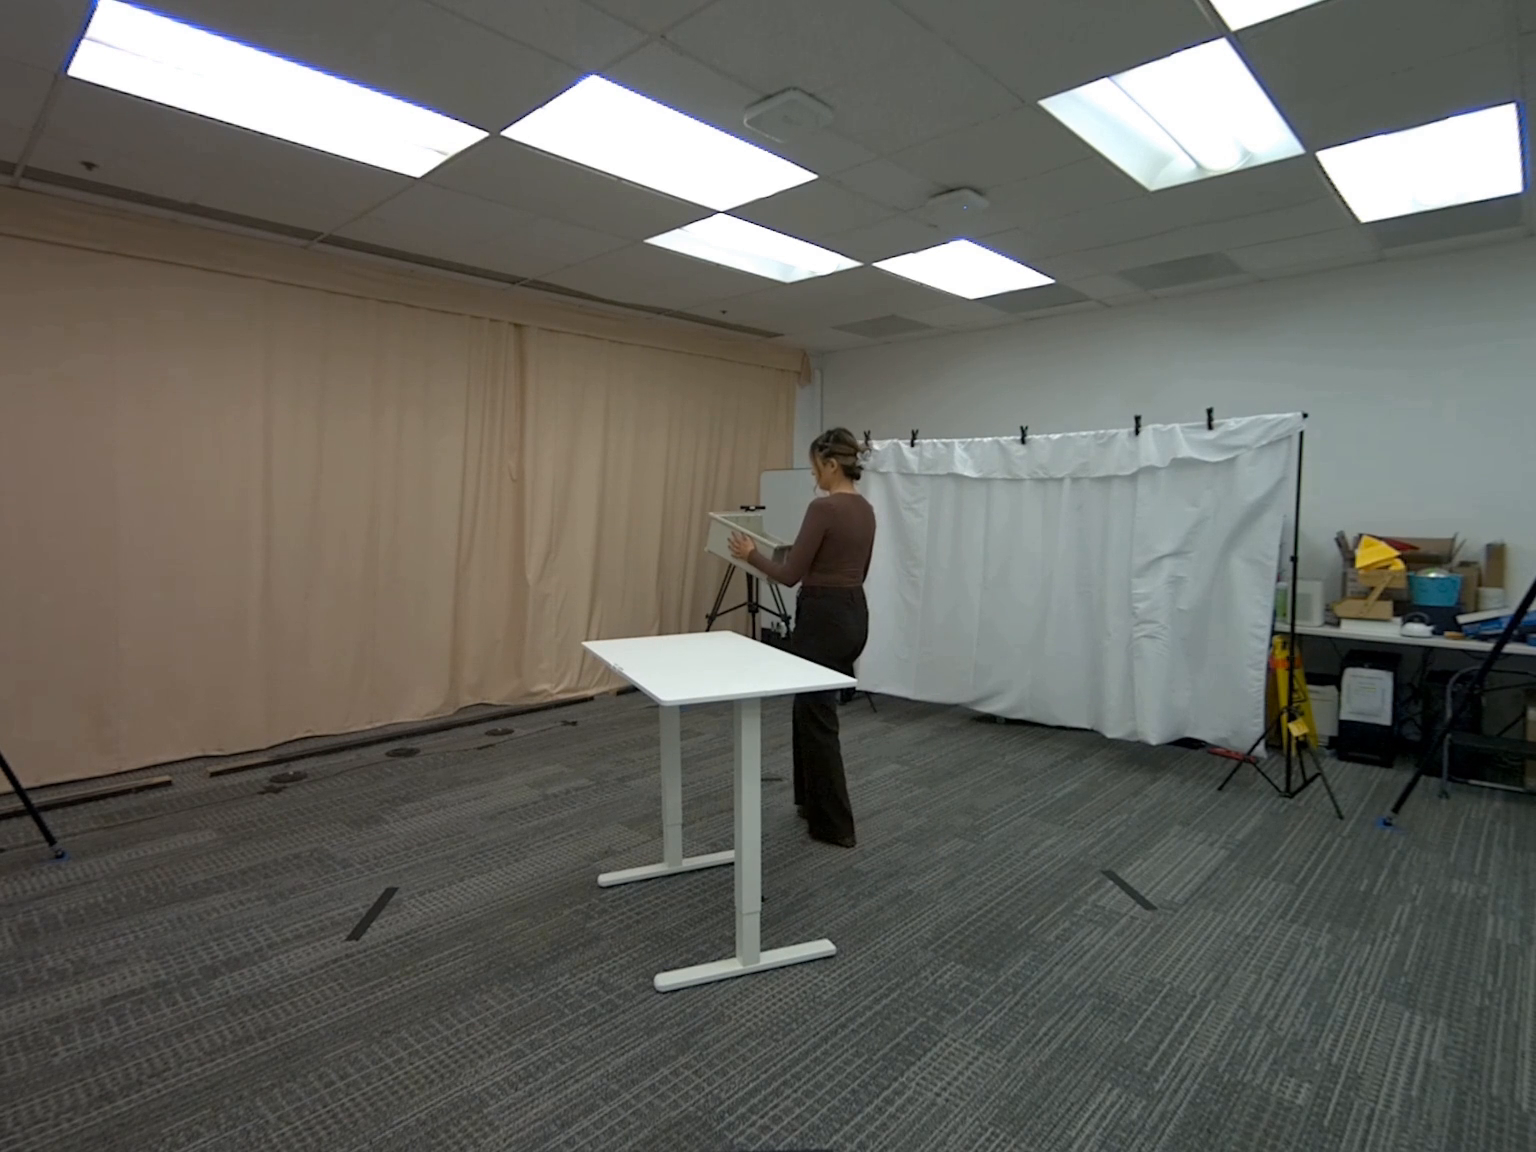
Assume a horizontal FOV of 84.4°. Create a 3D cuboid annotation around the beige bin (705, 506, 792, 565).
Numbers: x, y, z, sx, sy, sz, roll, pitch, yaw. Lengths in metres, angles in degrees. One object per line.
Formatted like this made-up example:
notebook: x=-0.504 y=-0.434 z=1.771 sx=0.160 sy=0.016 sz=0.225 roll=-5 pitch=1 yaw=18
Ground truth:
beige bin: x=-0.007 y=-0.130 z=3.752 sx=0.366 sy=0.188 sz=0.438 roll=-6 pitch=25 yaw=-46
